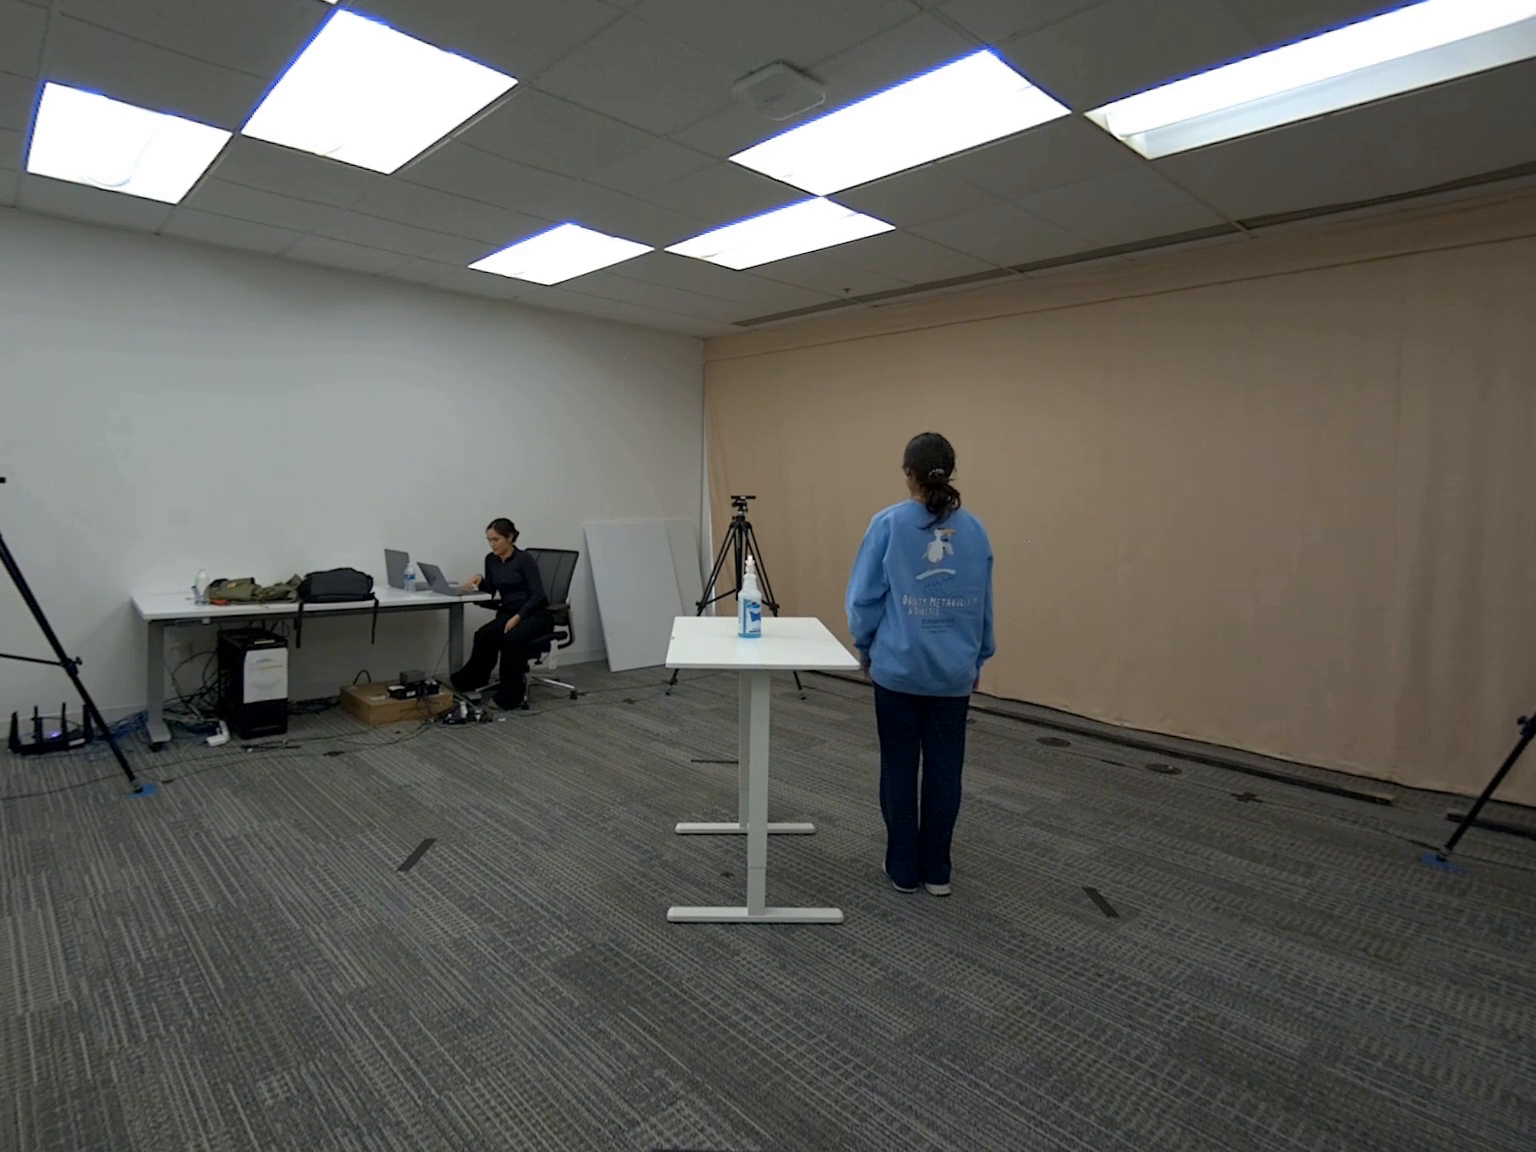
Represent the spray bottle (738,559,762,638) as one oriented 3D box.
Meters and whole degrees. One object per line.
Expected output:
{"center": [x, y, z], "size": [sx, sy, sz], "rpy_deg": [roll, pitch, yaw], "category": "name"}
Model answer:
{"center": [-0.070, 0.076, 3.099], "size": [0.088, 0.297, 0.088], "rpy_deg": [1, 1, 21], "category": "spray bottle"}
